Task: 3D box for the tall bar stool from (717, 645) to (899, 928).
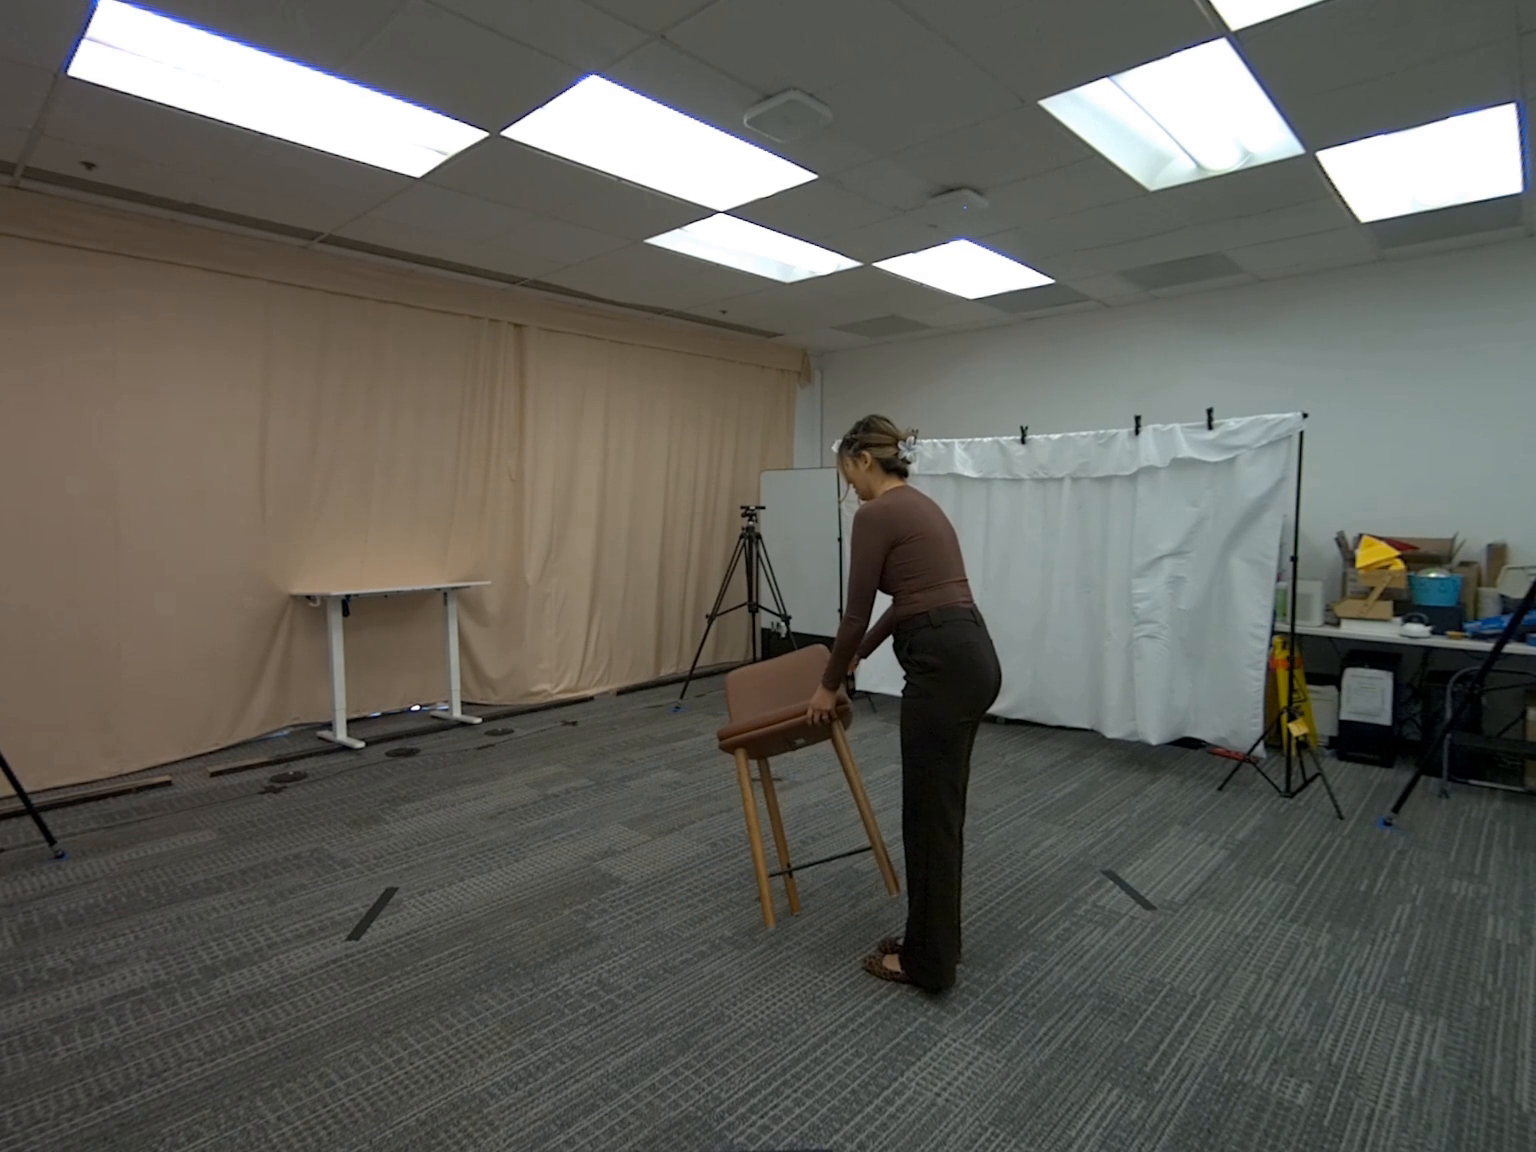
[{"bbox_3d":[0.115,0.651,2.809,0.460,0.906,0.456,-18,-21,8],"label":"tall bar stool"}]
